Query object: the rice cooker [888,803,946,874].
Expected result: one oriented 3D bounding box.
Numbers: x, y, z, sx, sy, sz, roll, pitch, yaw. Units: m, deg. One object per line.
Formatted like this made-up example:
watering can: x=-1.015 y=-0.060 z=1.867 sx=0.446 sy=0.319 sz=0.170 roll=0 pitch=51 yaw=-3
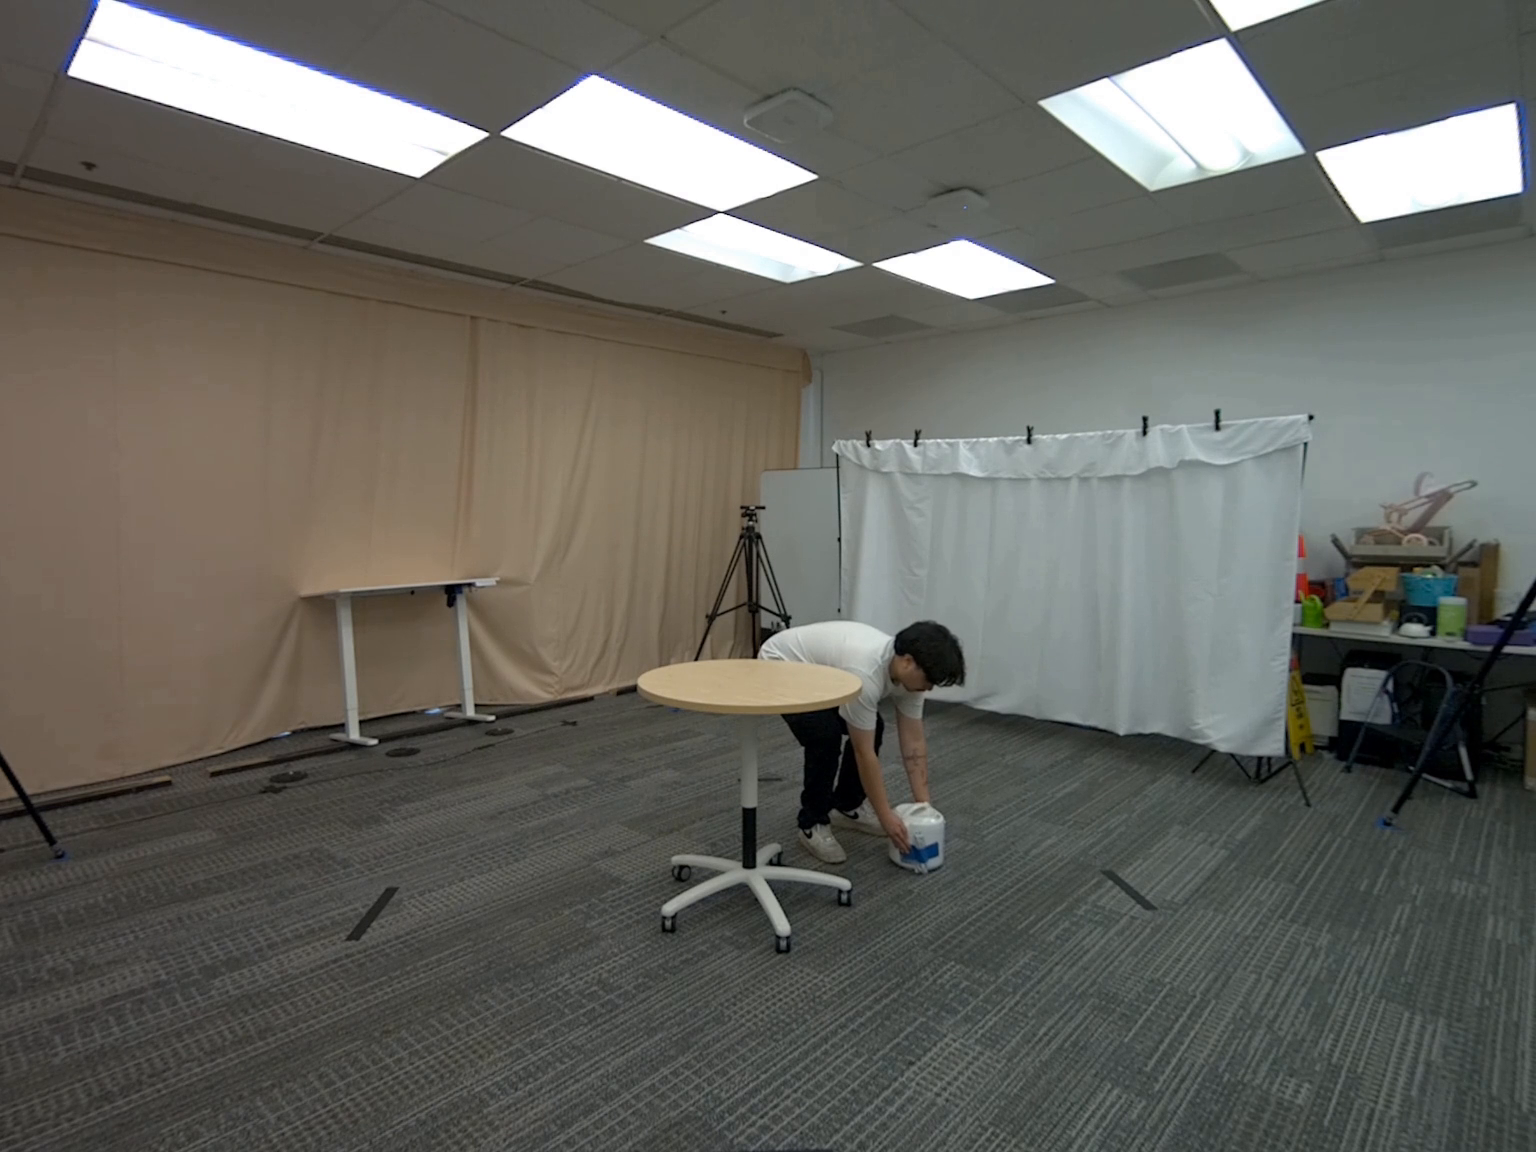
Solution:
rice cooker: x=0.580 y=1.002 z=3.284 sx=0.214 sy=0.232 sz=0.225 roll=-2 pitch=5 yaw=-43
